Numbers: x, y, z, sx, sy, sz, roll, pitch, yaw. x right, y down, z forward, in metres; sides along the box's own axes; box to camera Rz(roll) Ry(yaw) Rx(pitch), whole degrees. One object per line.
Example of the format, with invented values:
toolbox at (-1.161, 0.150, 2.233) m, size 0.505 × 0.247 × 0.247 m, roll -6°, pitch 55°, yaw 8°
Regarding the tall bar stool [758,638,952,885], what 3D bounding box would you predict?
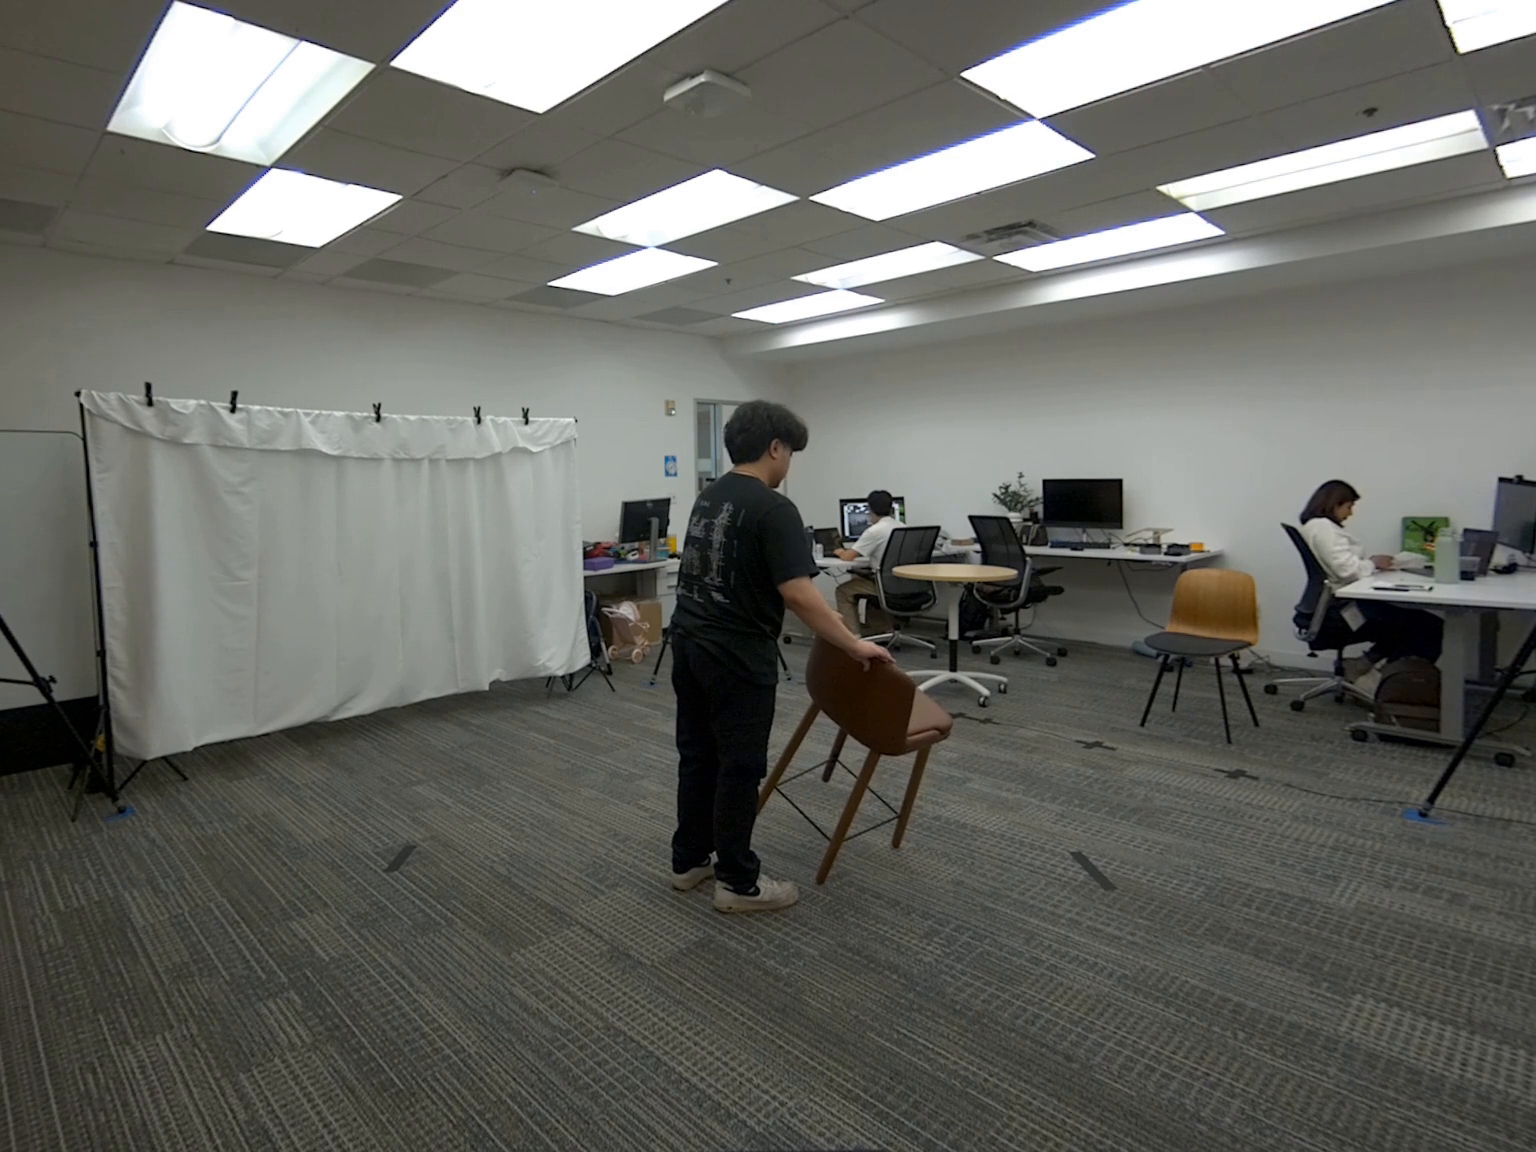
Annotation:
tall bar stool at (0.336, 0.571, 3.027) m, size 0.456 × 0.878 × 0.474 m, roll -8°, pitch 34°, yaw -44°
